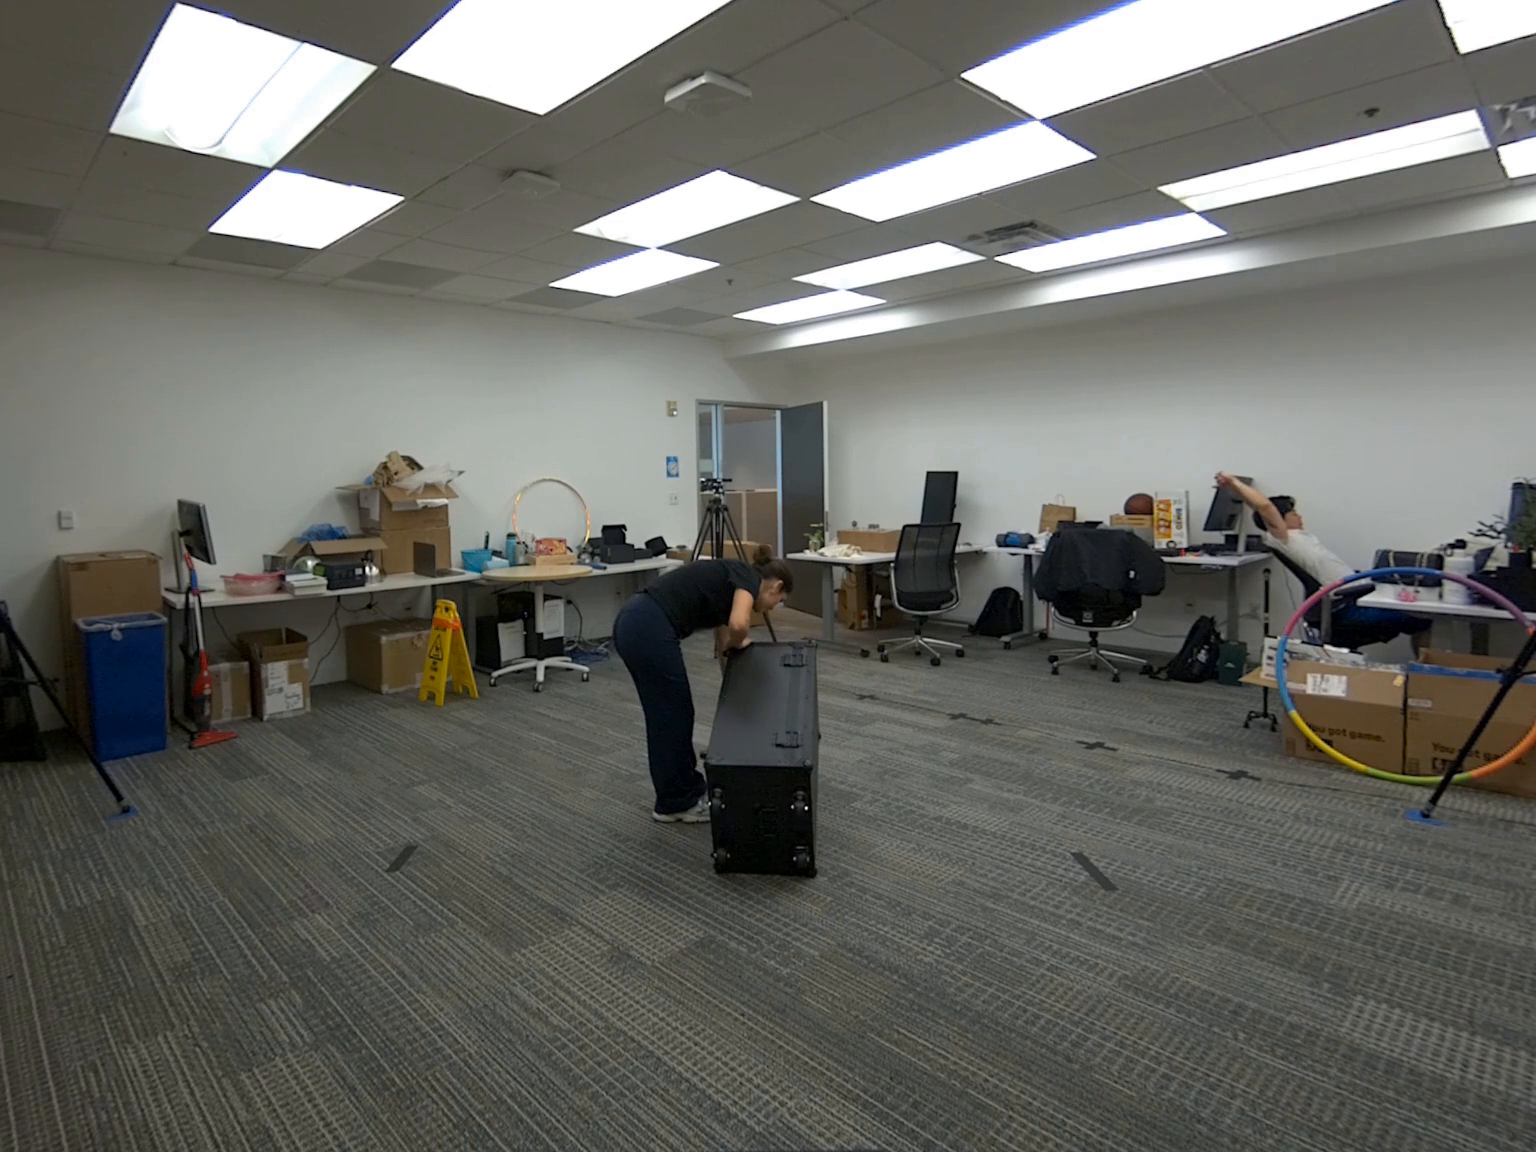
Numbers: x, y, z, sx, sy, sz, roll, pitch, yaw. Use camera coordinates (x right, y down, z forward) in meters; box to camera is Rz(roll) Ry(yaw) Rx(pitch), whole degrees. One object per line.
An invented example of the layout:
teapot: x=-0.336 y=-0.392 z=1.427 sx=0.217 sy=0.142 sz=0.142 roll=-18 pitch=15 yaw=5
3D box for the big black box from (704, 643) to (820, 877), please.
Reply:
big black box: x=-0.013 y=0.669 z=3.247 sx=0.398 sy=0.509 sz=0.877 roll=-3 pitch=26 yaw=4
